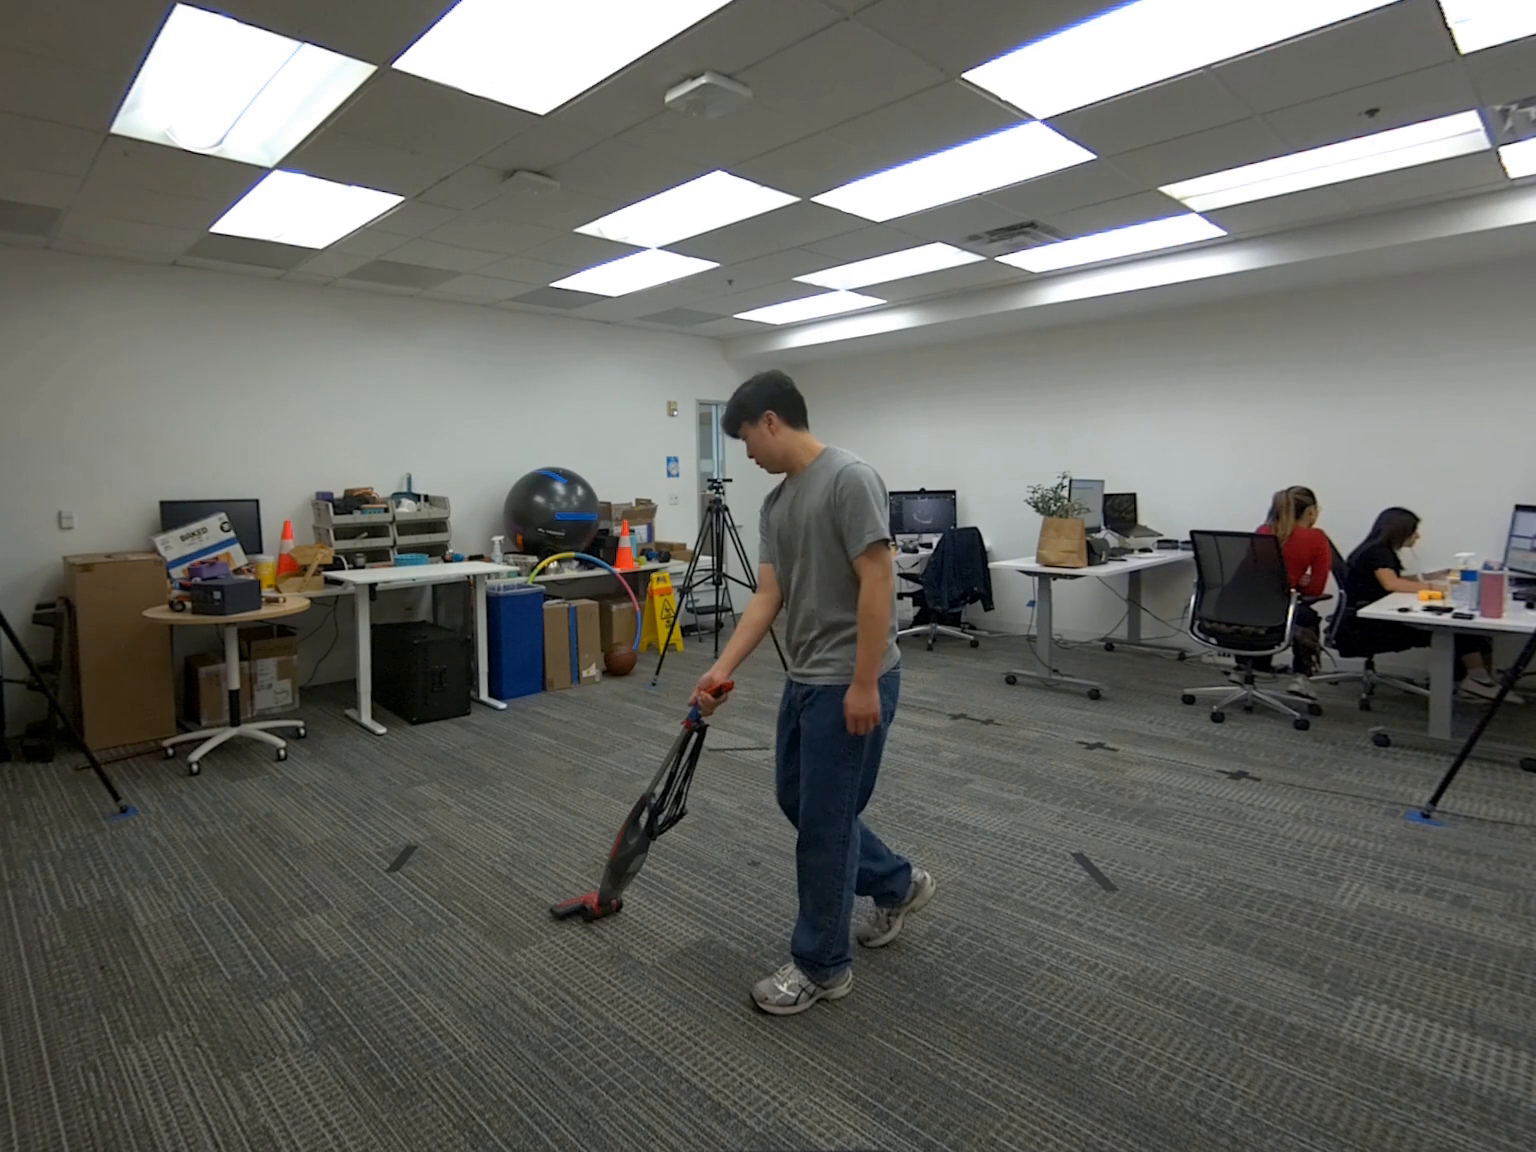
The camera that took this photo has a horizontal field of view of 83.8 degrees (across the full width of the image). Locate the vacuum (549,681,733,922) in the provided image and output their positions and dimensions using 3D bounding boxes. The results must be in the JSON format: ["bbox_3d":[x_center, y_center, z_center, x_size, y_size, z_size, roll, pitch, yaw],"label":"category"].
[{"bbox_3d":[-0.349,0.693,2.547,0.149,1.040,0.247,44,33,25],"label":"vacuum"}]
